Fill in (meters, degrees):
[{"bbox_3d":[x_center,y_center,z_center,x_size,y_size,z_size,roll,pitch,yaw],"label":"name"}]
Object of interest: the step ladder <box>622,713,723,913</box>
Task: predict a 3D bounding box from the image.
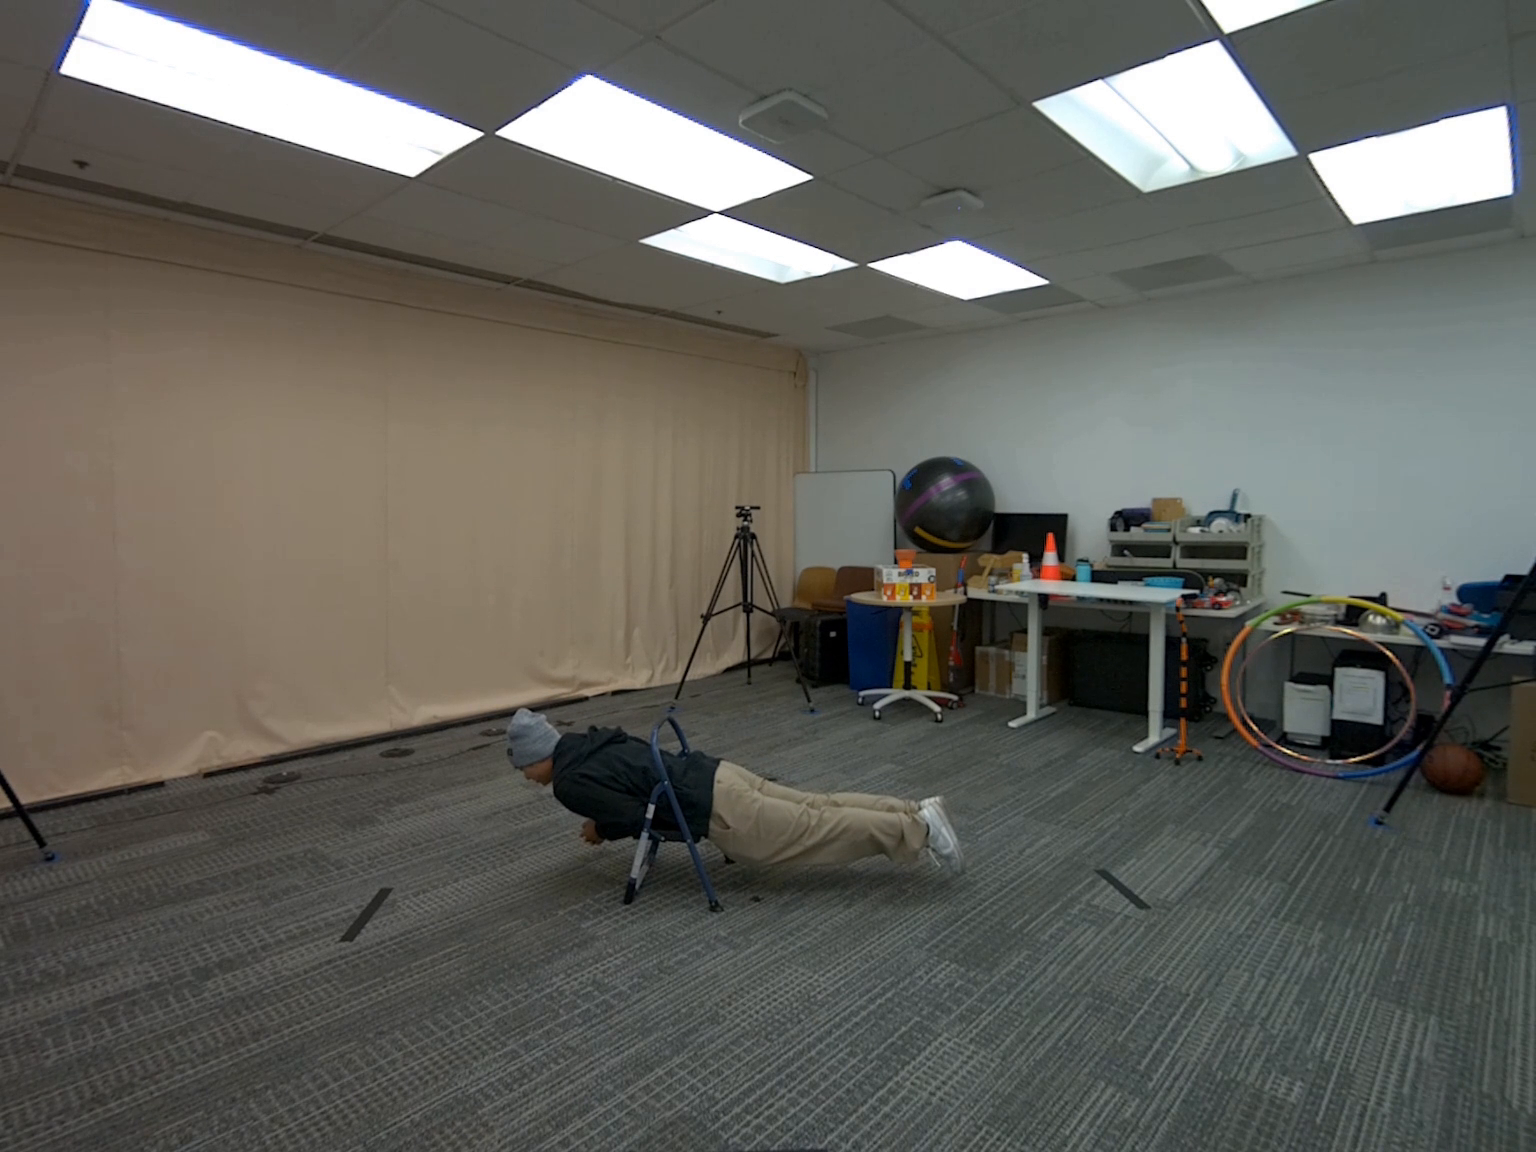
[{"bbox_3d":[-0.322,0.839,3.104,0.351,0.605,0.429,-2,3,4],"label":"step ladder"}]
